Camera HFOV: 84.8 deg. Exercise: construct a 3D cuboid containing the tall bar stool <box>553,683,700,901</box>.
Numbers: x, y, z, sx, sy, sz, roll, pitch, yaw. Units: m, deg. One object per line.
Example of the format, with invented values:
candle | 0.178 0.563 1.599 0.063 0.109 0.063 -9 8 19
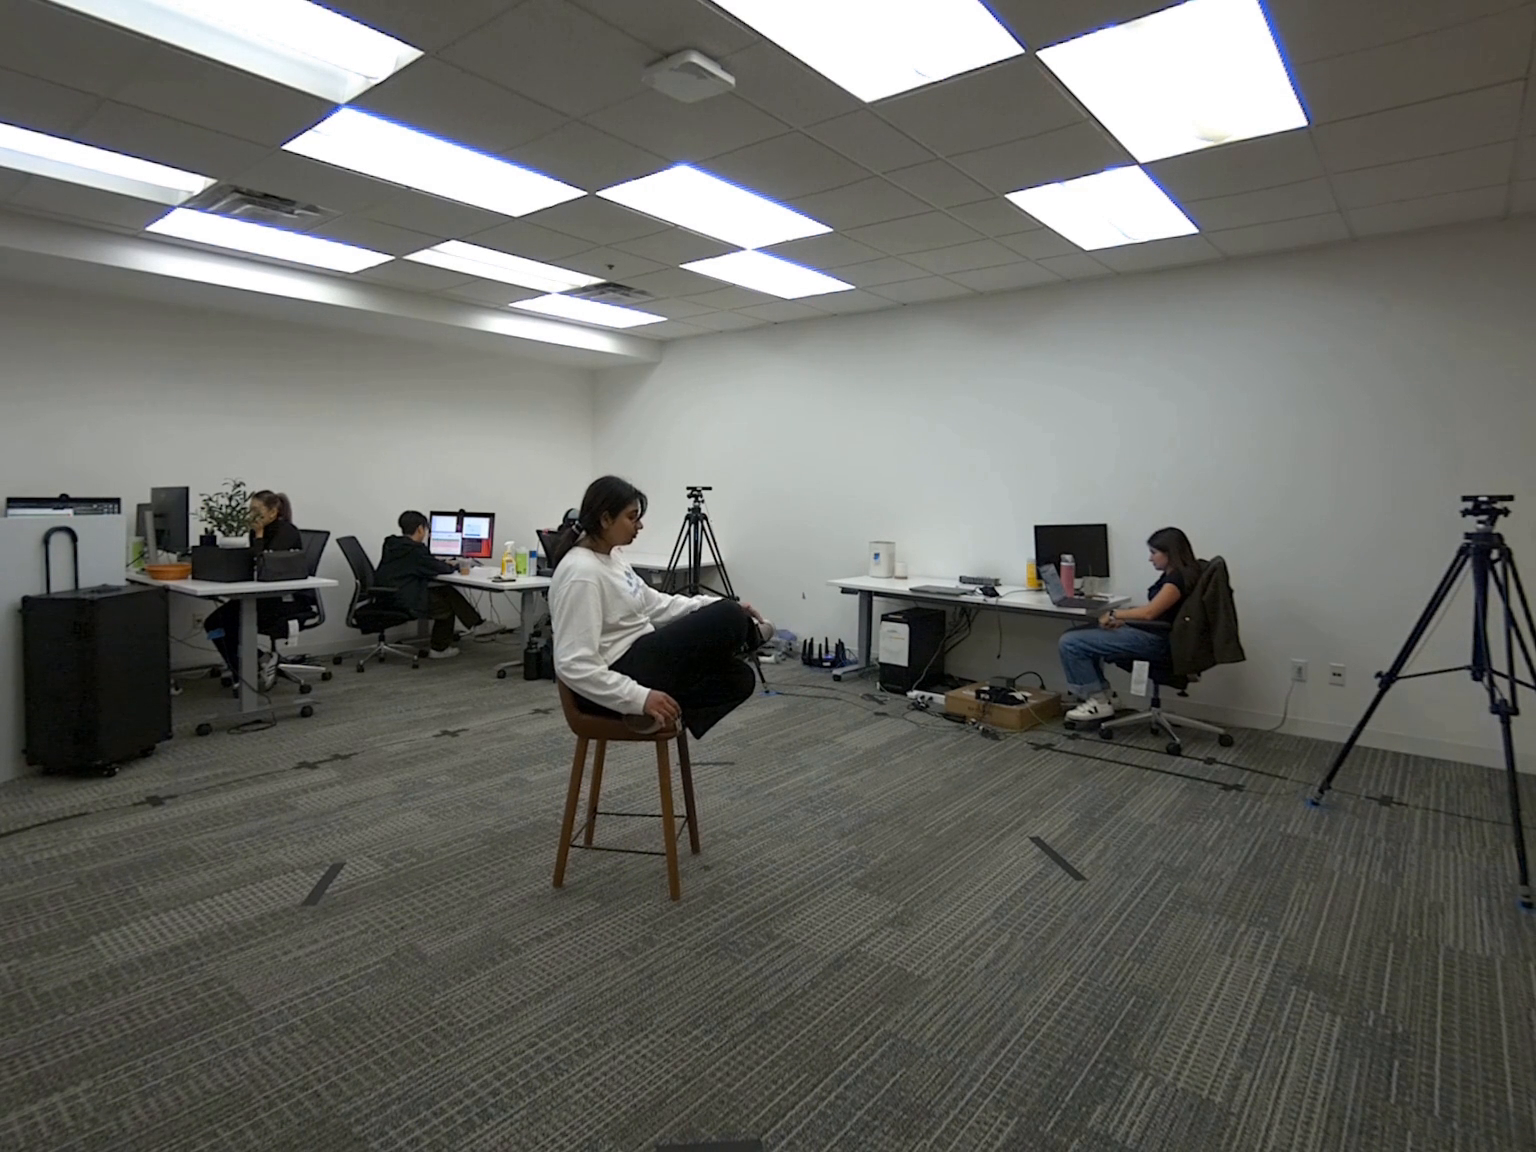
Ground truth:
tall bar stool | -0.509 0.635 3.071 0.472 0.887 0.453 -1 3 9
